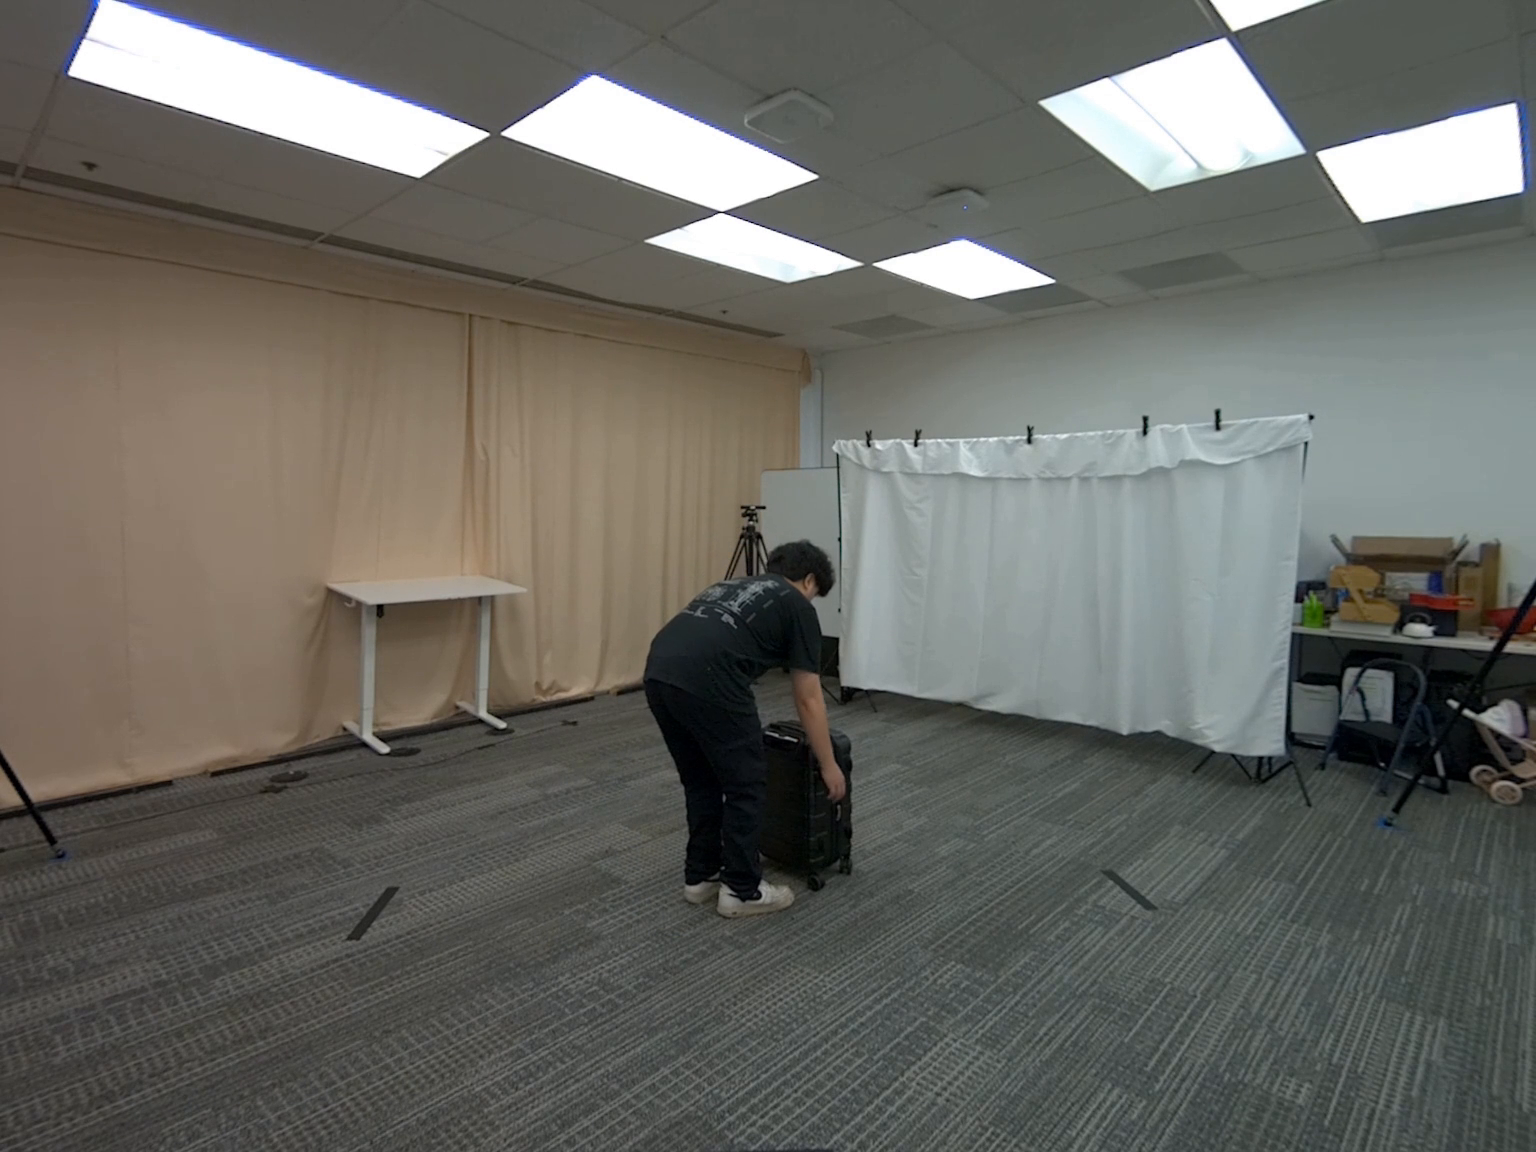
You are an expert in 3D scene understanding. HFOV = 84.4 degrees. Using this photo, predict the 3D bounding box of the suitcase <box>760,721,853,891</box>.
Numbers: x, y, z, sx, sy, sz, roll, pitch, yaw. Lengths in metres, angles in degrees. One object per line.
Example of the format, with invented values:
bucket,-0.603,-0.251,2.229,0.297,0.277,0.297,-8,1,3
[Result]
suitcase,0.134,0.853,3.250,0.240,0.549,0.388,-1,3,-44
